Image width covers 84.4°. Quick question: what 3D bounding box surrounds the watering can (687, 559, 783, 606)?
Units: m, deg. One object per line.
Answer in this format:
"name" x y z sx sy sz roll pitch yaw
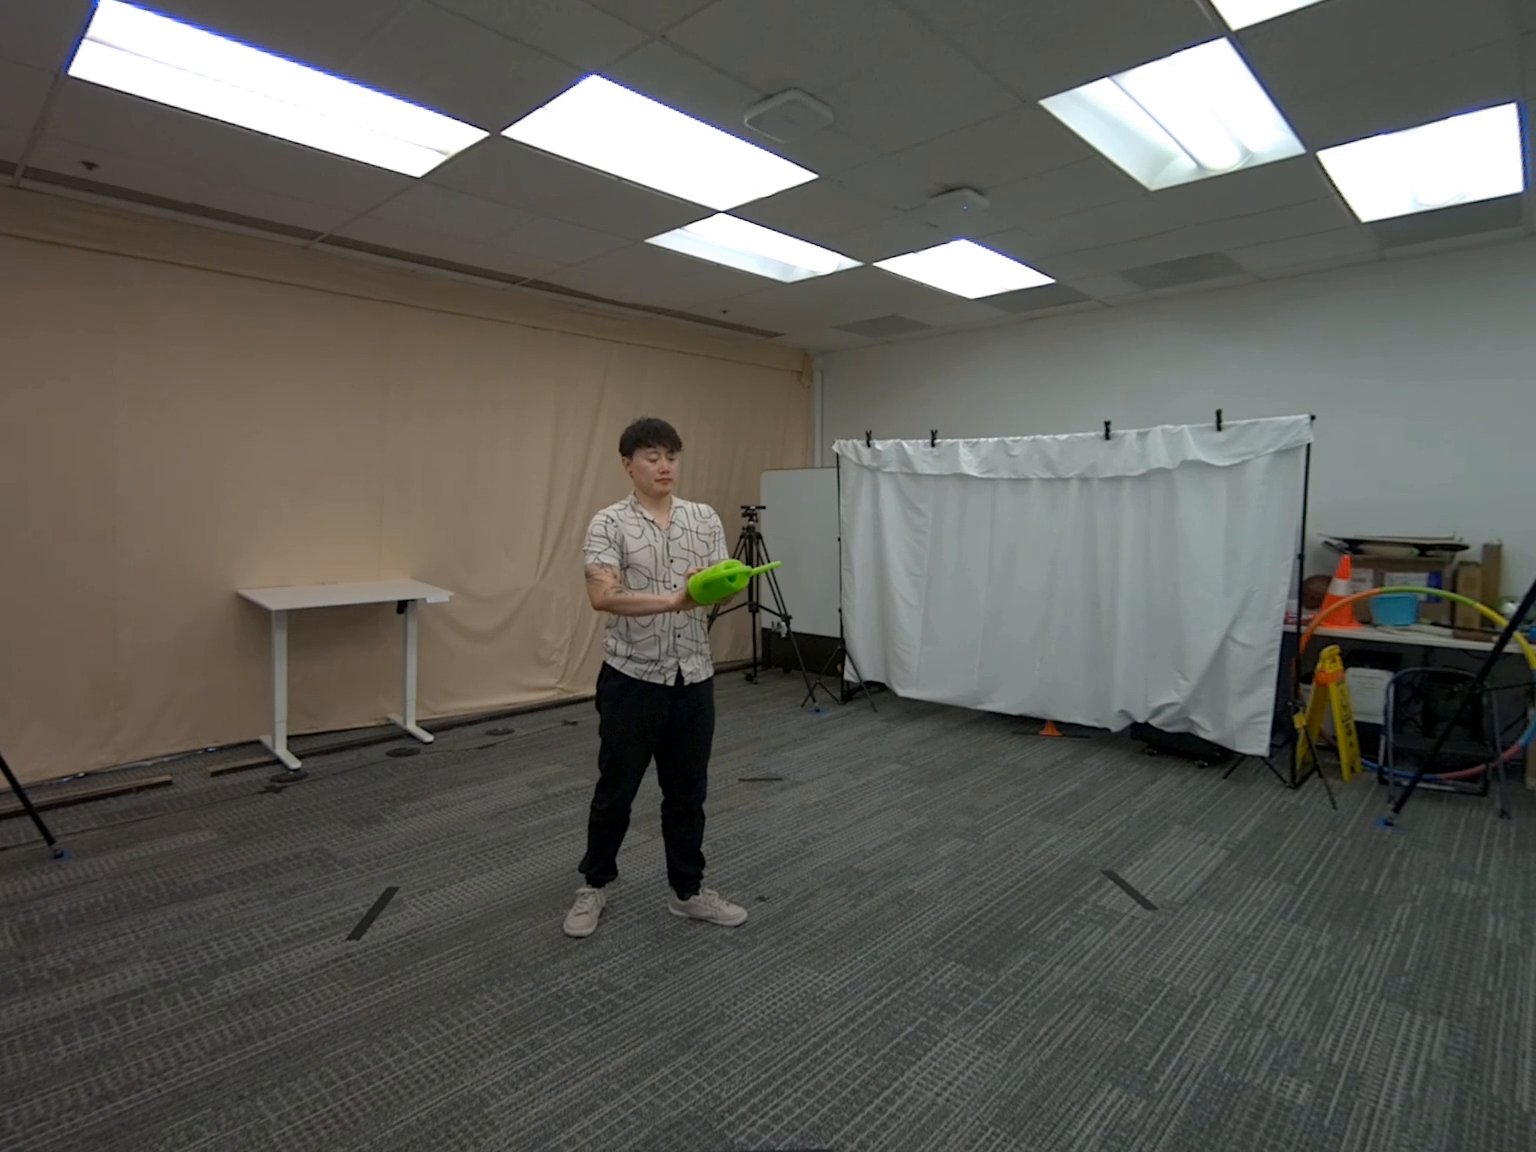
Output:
"watering can" -0.101 0.016 2.442 0.180 0.099 0.269 -22 -20 34
